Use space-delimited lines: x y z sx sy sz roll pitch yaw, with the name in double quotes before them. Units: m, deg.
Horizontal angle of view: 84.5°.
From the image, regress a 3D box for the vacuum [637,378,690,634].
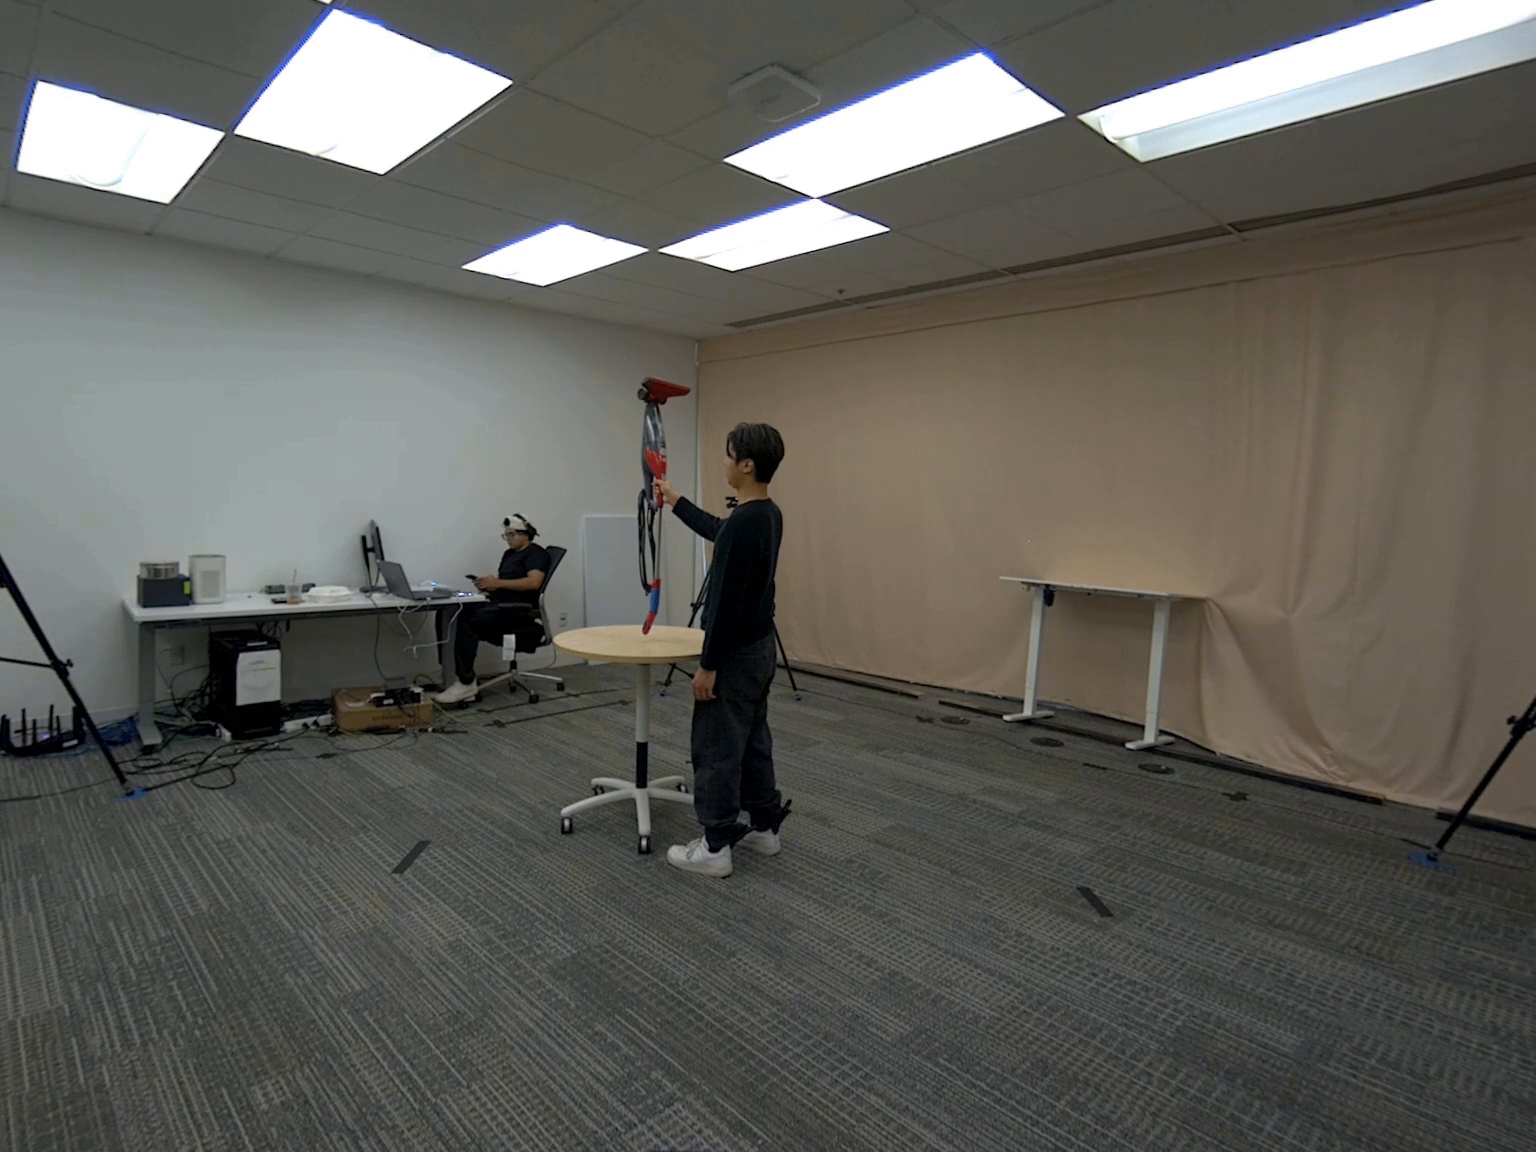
"vacuum" -0.507 -0.285 3.593 0.147 1.050 0.246 2 -1 42
